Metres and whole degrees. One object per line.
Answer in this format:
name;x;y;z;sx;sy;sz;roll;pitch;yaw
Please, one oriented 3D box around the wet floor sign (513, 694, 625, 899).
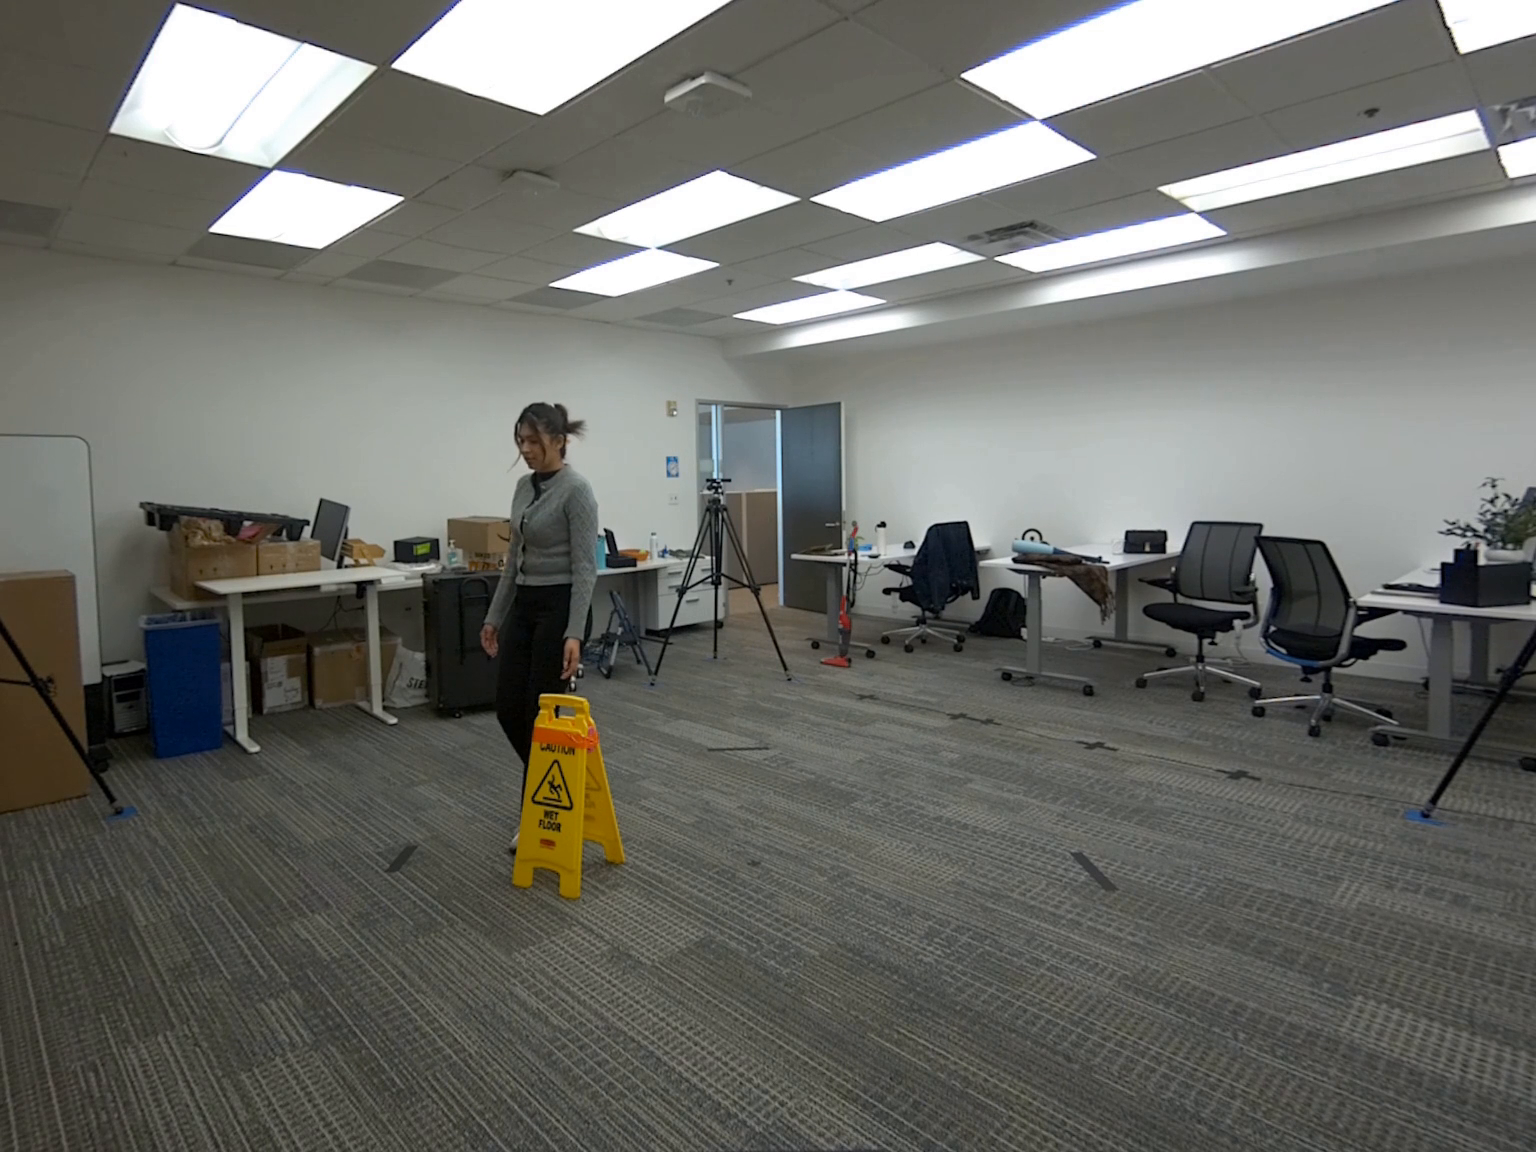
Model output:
wet floor sign;-0.713;0.743;3.028;0.288;0.644;0.284;-1;4;24
